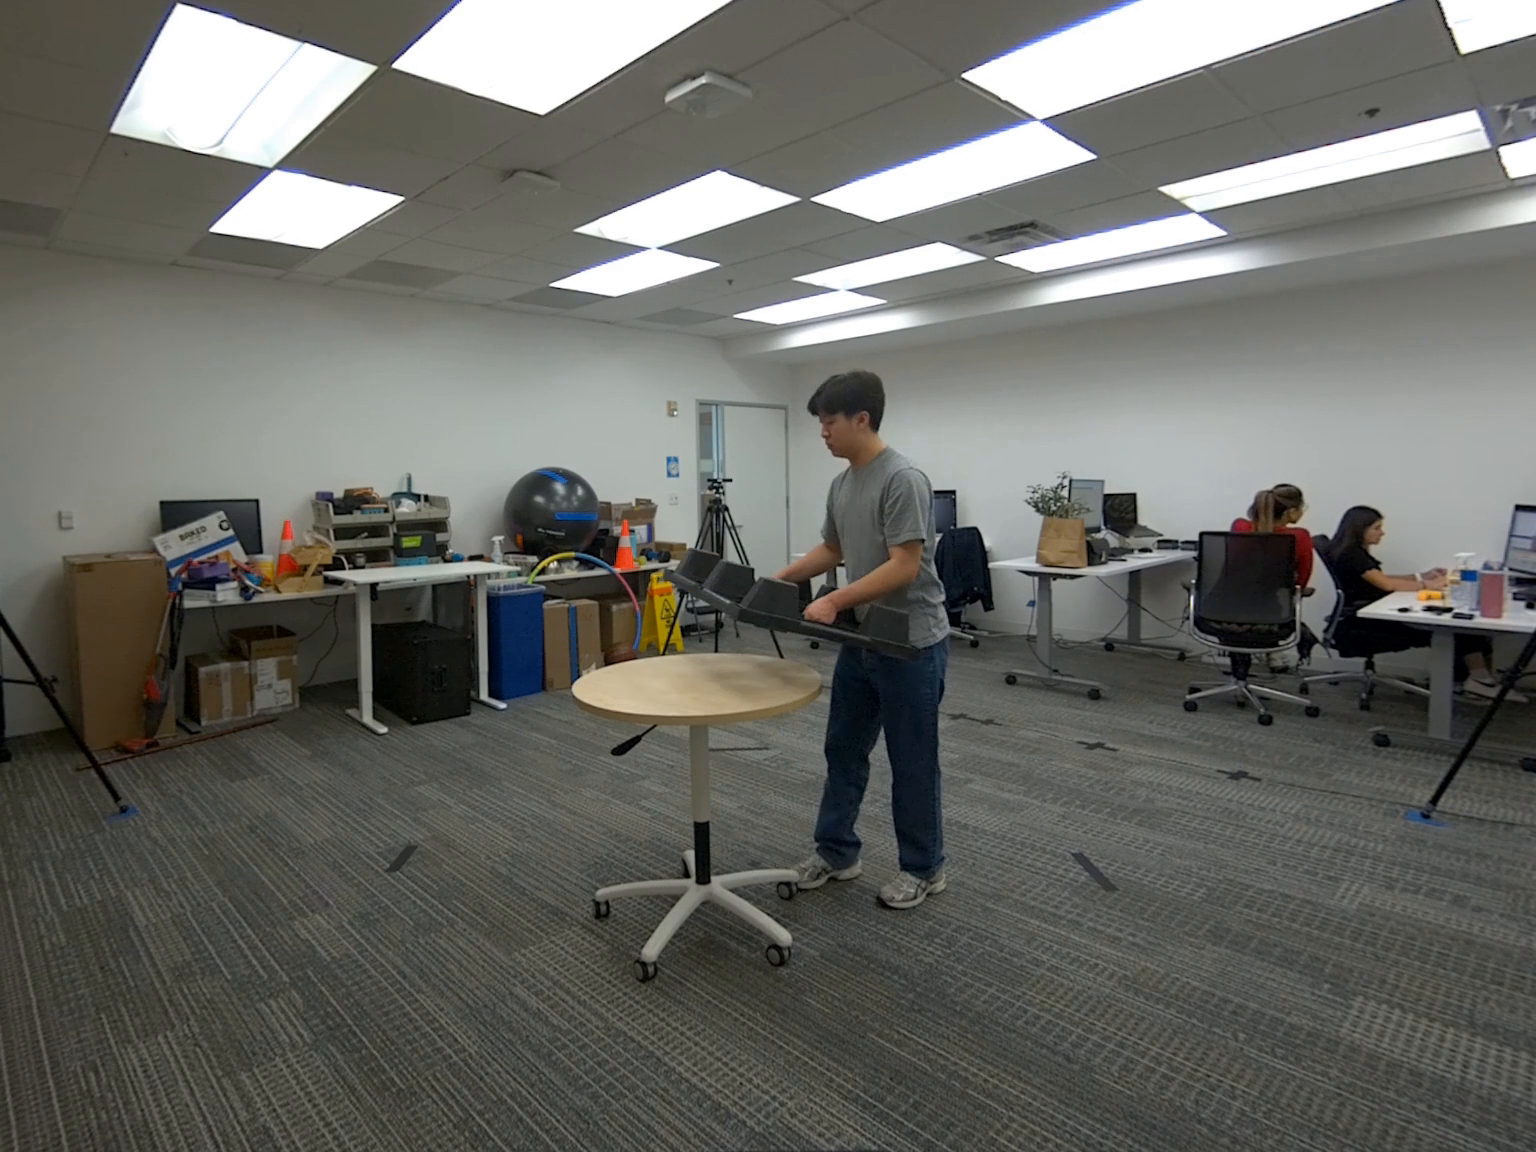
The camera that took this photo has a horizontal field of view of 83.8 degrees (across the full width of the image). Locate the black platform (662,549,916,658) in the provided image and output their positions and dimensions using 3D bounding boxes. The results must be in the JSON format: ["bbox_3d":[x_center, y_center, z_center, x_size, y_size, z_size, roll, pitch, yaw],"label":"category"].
[{"bbox_3d":[0.051,0.073,2.781,0.591,0.143,0.826,13,3,-23],"label":"black platform"}]
